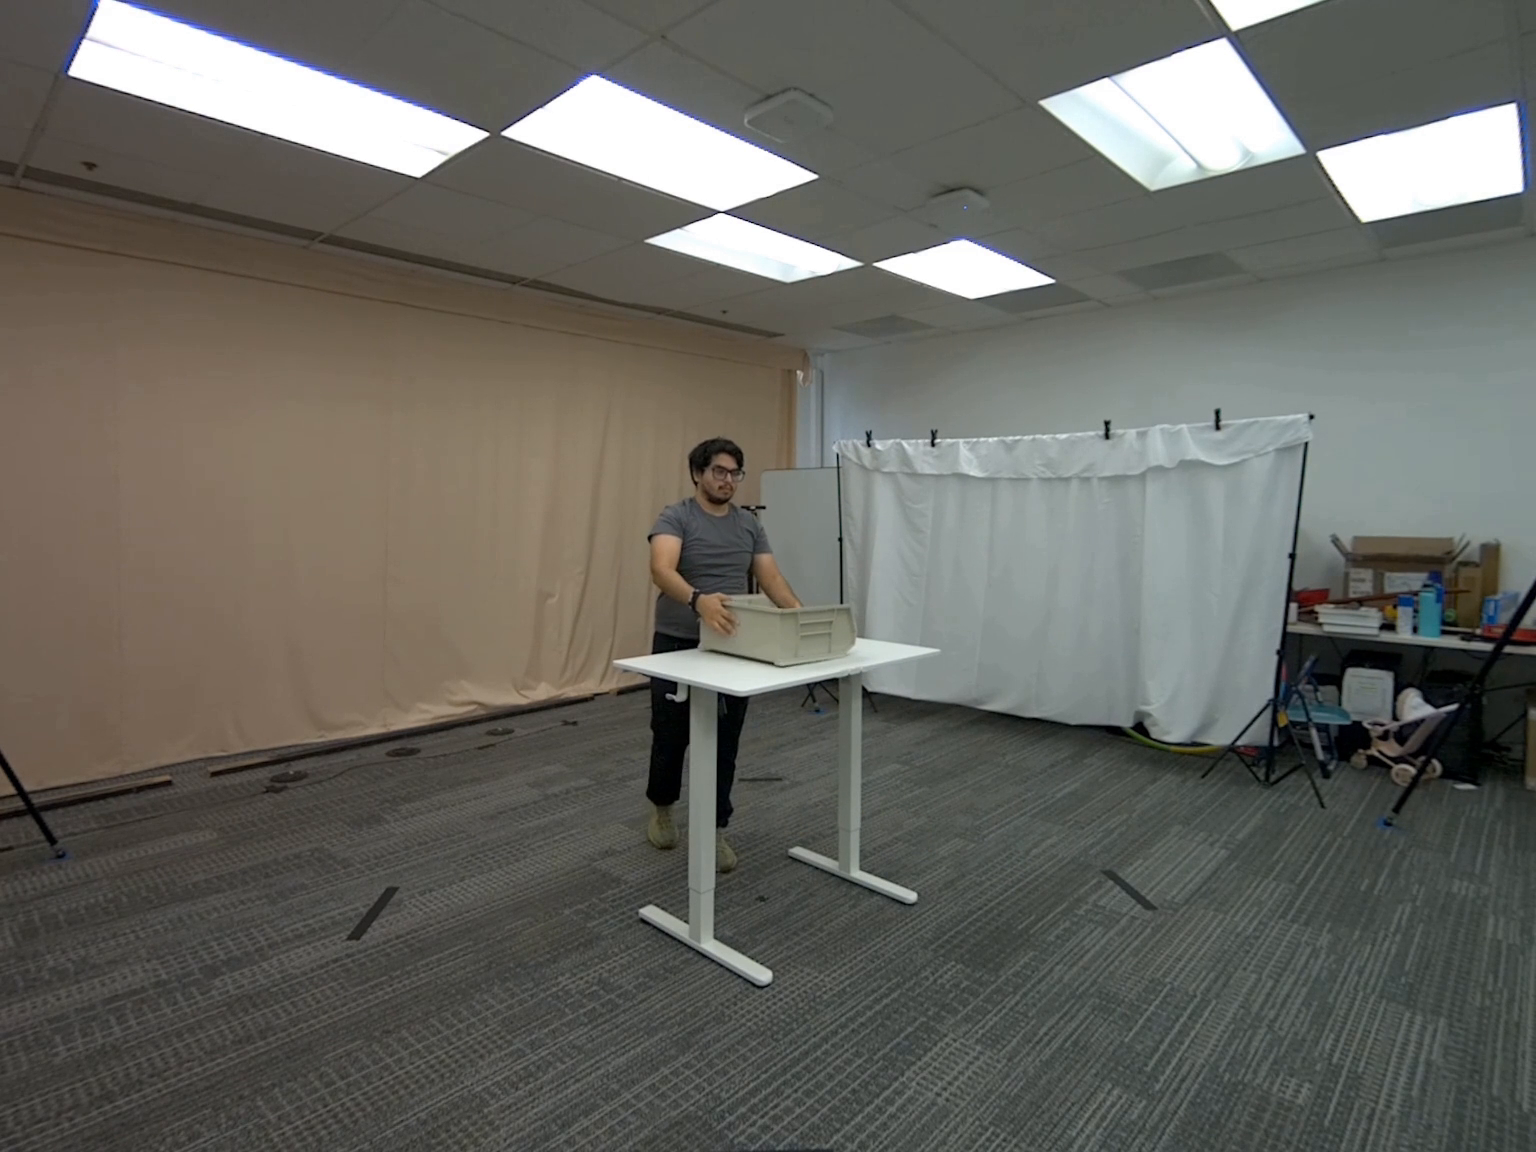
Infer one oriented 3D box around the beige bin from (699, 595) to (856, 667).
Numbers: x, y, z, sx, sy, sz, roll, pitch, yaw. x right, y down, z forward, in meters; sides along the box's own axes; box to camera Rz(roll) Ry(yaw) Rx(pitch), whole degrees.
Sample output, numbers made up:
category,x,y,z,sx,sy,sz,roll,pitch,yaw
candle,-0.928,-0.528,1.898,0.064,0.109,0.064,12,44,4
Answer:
category,x,y,z,sx,sy,sz,roll,pitch,yaw
beige bin,0.024,0.175,2.894,0.365,0.188,0.436,-2,5,-42
